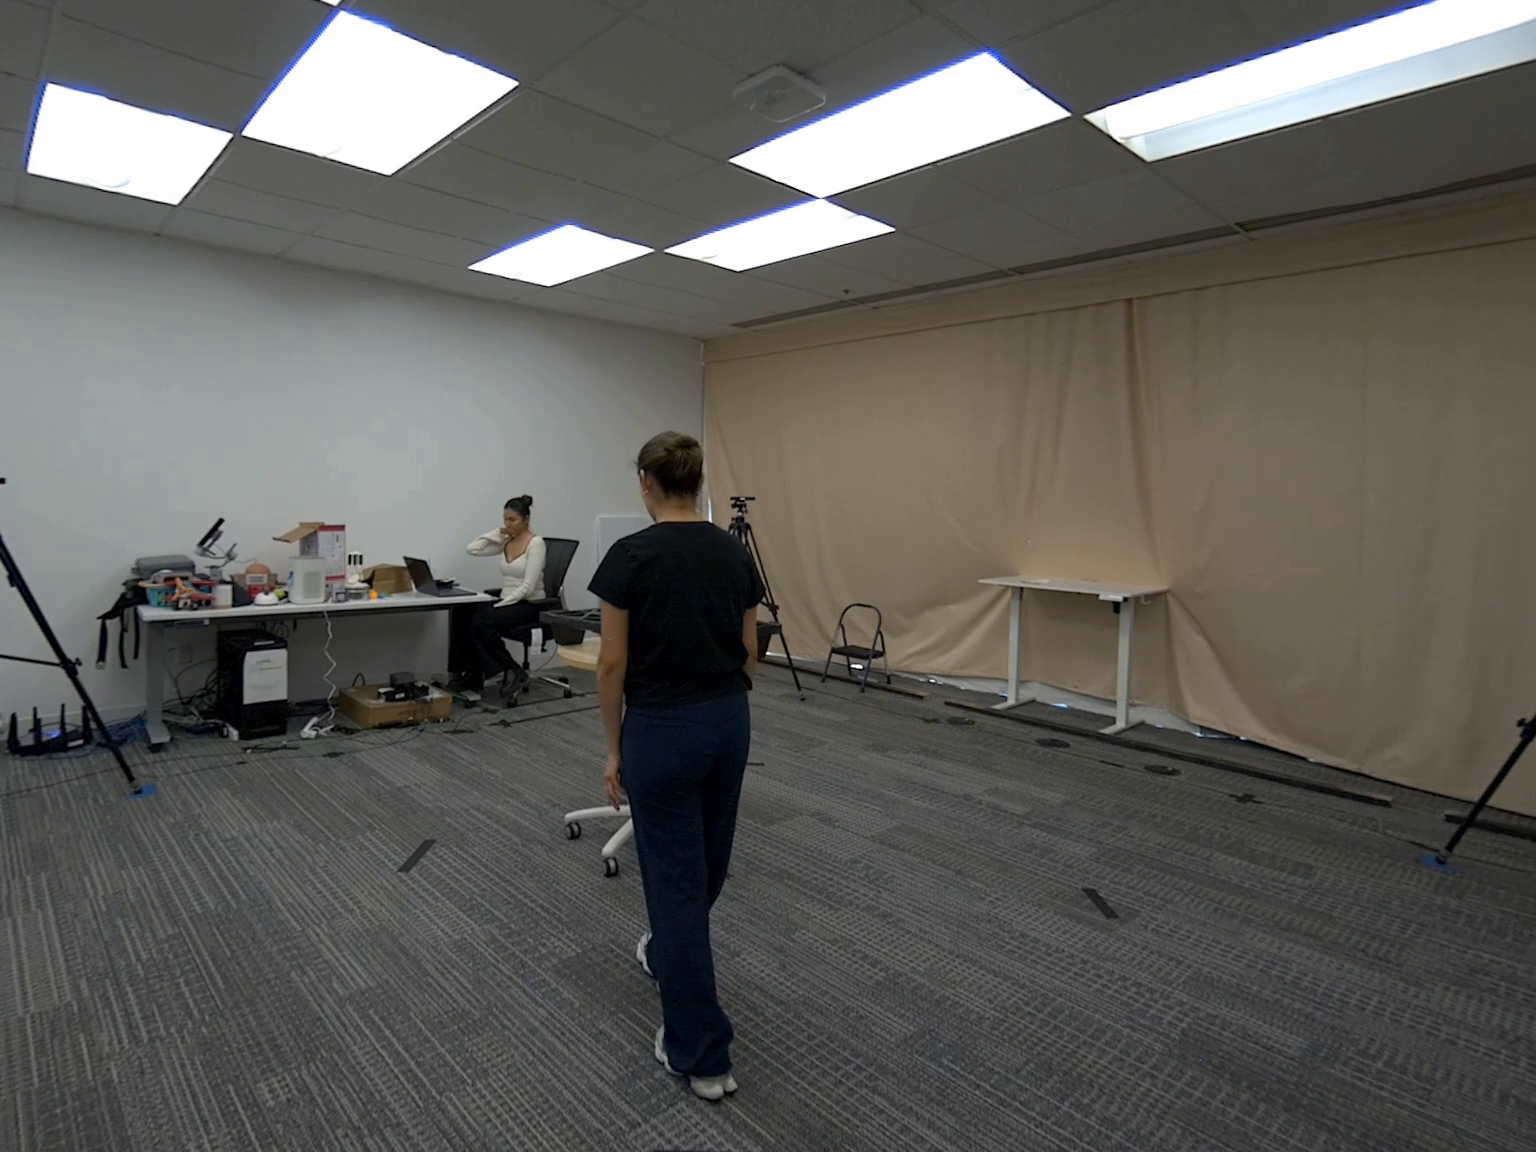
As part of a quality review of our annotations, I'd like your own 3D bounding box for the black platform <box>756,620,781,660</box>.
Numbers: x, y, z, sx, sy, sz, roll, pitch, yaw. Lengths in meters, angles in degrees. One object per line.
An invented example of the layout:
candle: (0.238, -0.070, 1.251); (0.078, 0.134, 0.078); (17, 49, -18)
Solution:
black platform: (-0.435, 0.239, 3.329); (0.826, 0.143, 0.591); (7, 7, 43)
